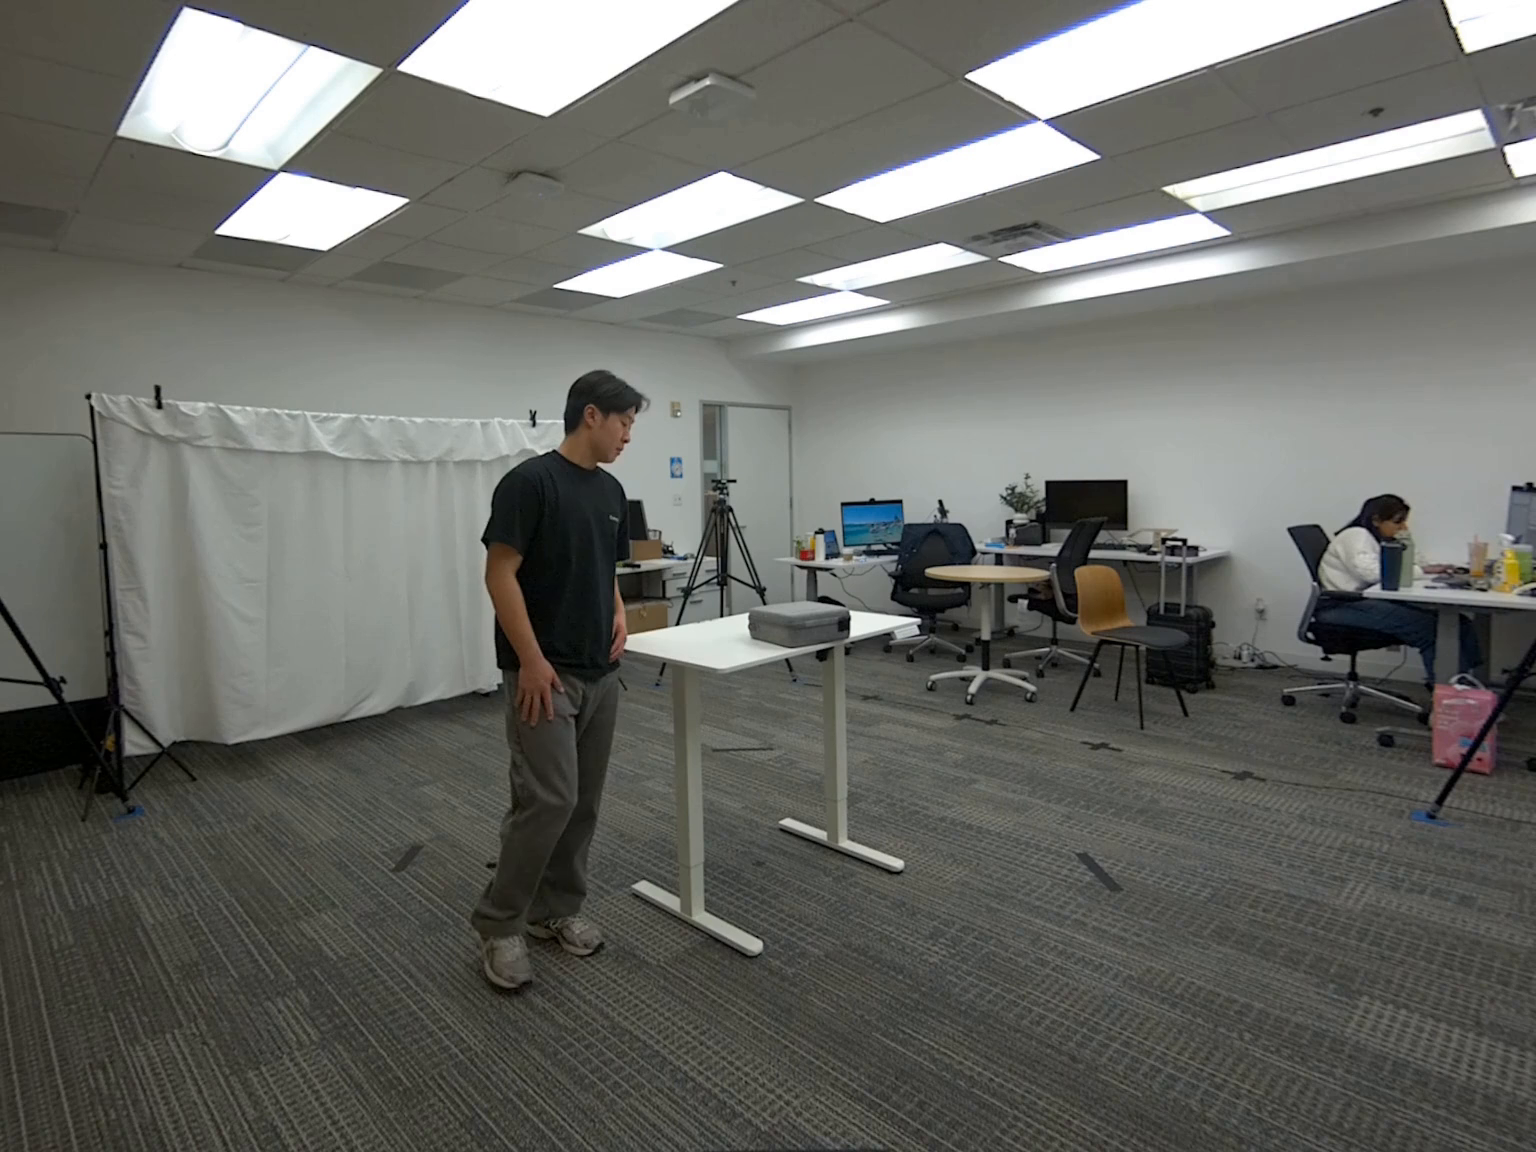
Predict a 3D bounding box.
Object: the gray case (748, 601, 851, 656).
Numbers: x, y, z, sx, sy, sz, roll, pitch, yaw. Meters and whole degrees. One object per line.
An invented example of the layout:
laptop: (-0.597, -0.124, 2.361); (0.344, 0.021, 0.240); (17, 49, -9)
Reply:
gray case: (0.101, 0.149, 2.751); (0.251, 0.104, 0.268); (-7, 7, -34)
